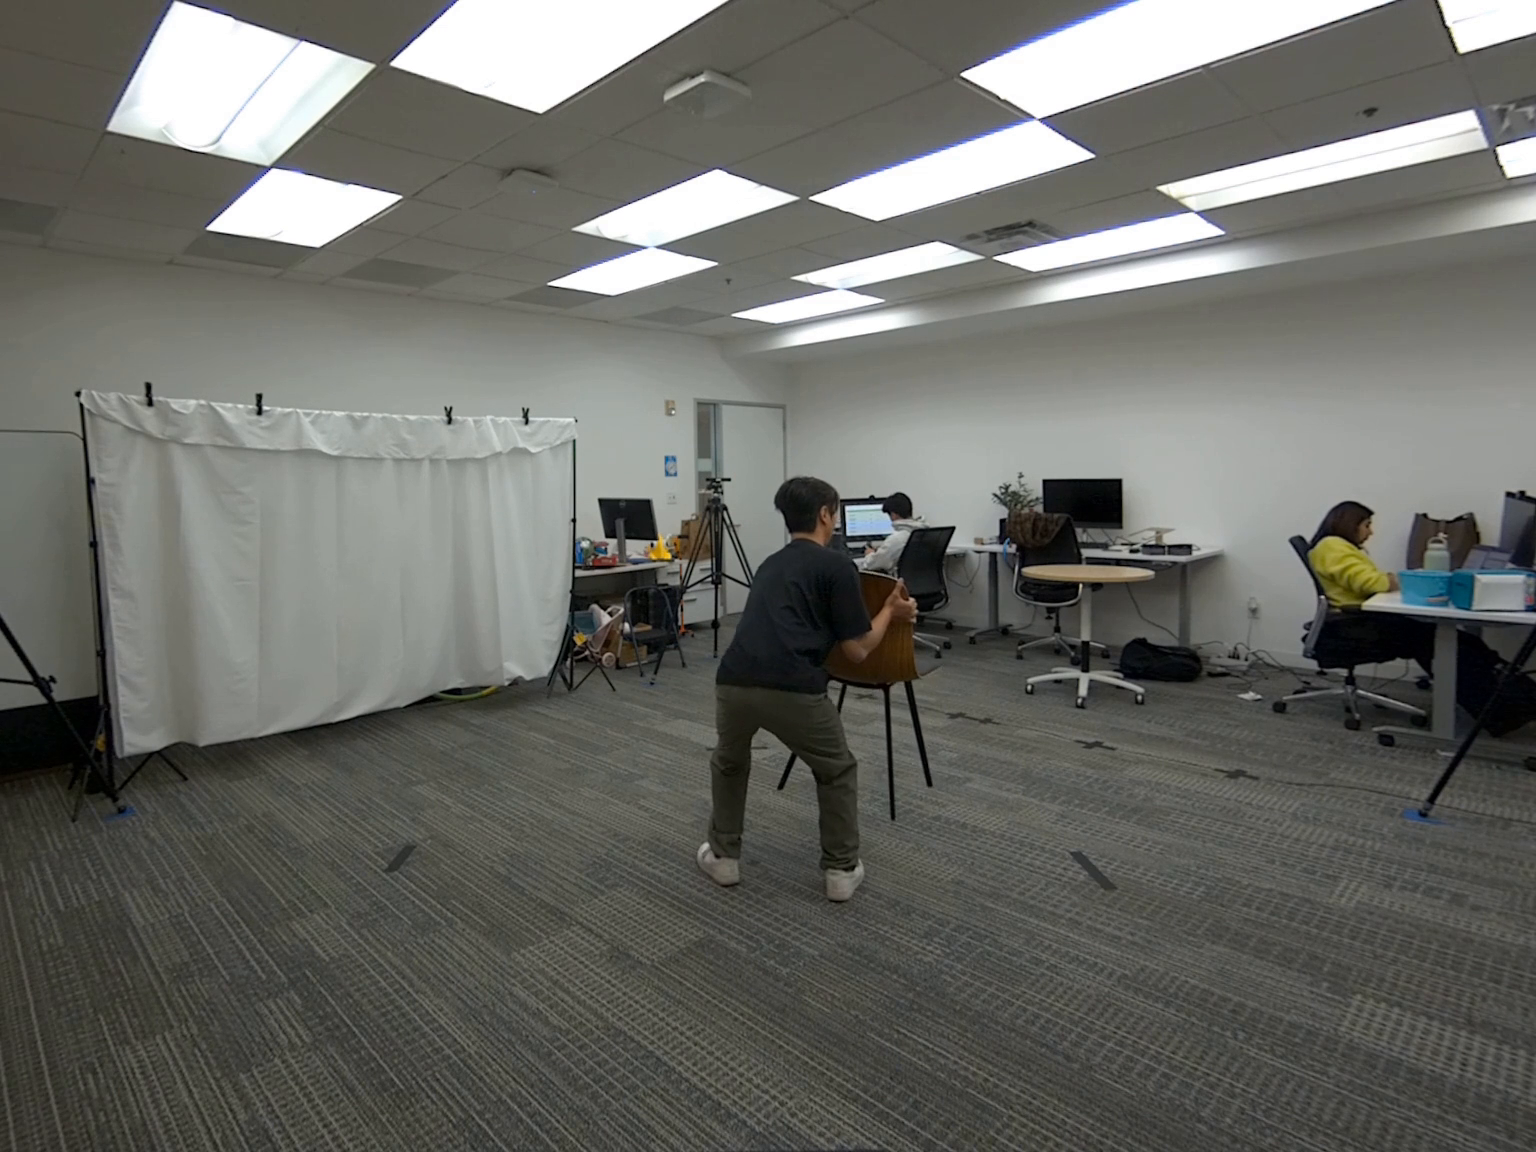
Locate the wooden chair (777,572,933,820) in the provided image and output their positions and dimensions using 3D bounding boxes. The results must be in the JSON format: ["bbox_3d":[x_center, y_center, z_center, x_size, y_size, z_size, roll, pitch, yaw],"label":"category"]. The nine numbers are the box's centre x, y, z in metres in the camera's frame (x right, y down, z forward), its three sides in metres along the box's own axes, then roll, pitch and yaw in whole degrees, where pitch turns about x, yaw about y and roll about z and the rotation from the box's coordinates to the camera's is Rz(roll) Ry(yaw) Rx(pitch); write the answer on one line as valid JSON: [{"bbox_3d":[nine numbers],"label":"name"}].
[{"bbox_3d":[0.370,0.378,3.212,0.491,0.872,0.512,6,8,28],"label":"wooden chair"}]
